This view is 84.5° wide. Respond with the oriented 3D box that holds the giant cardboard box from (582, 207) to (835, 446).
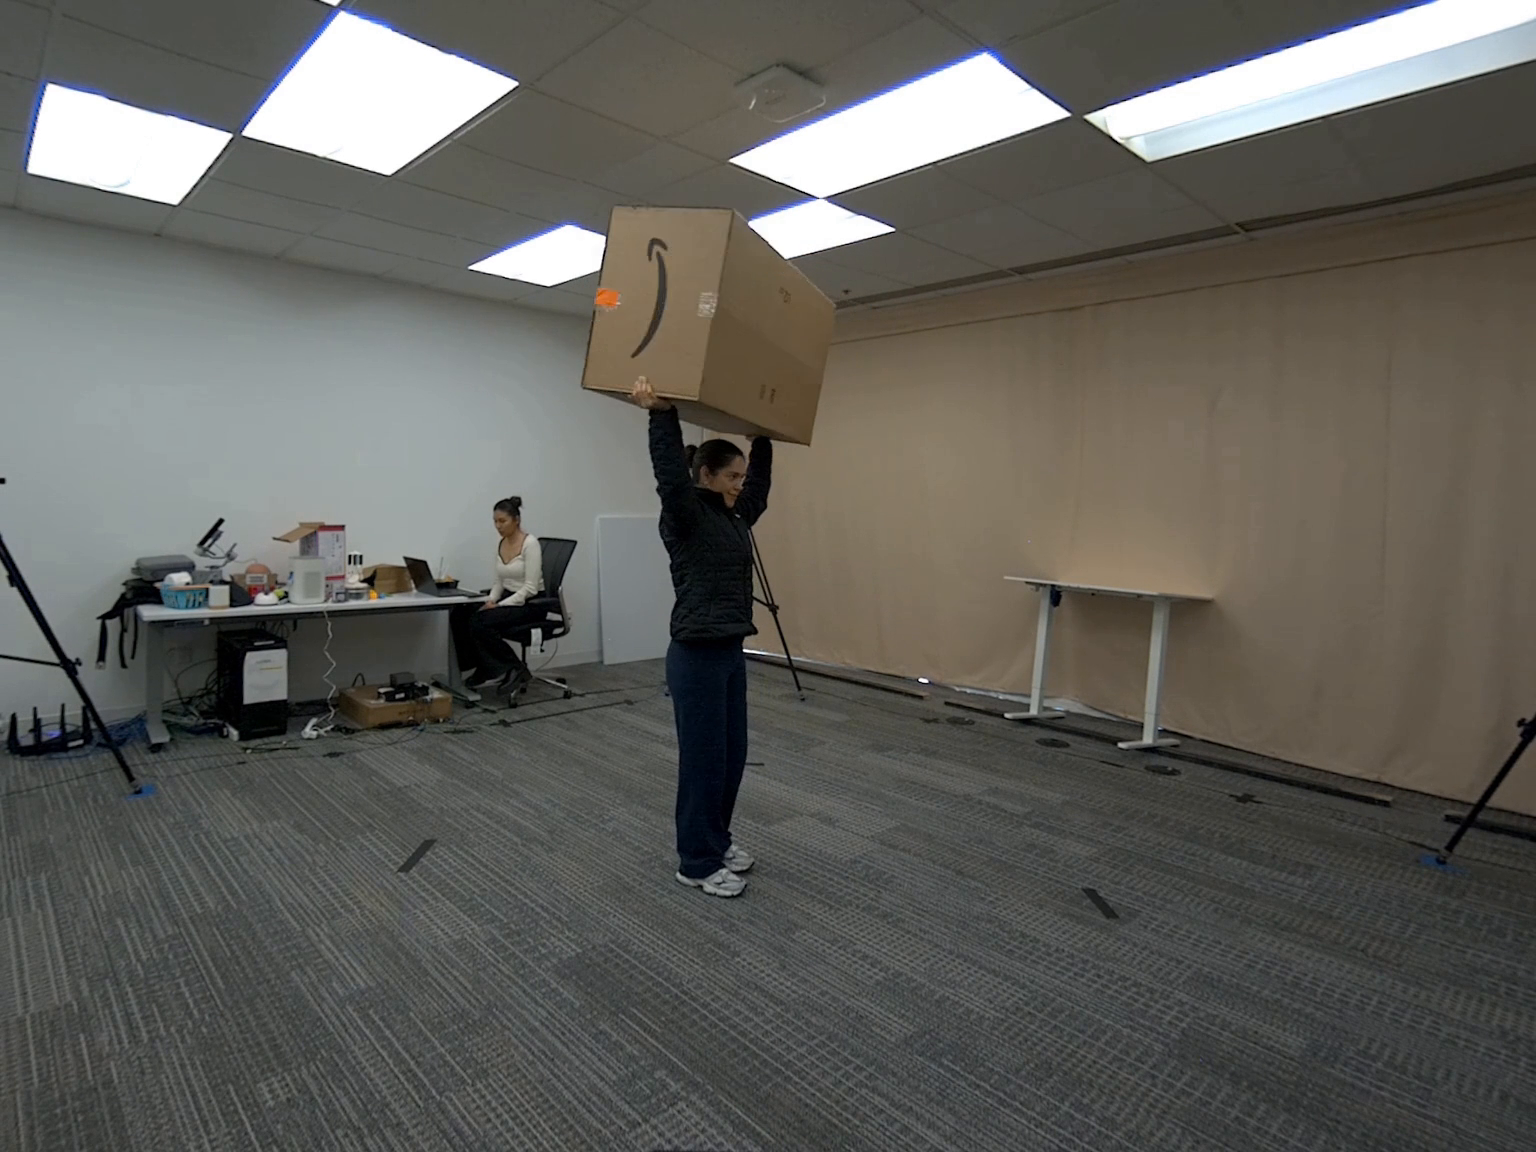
[{"bbox_3d":[-0.159,-0.834,2.999,0.455,0.583,1.009,10,4,21],"label":"giant cardboard box"}]
